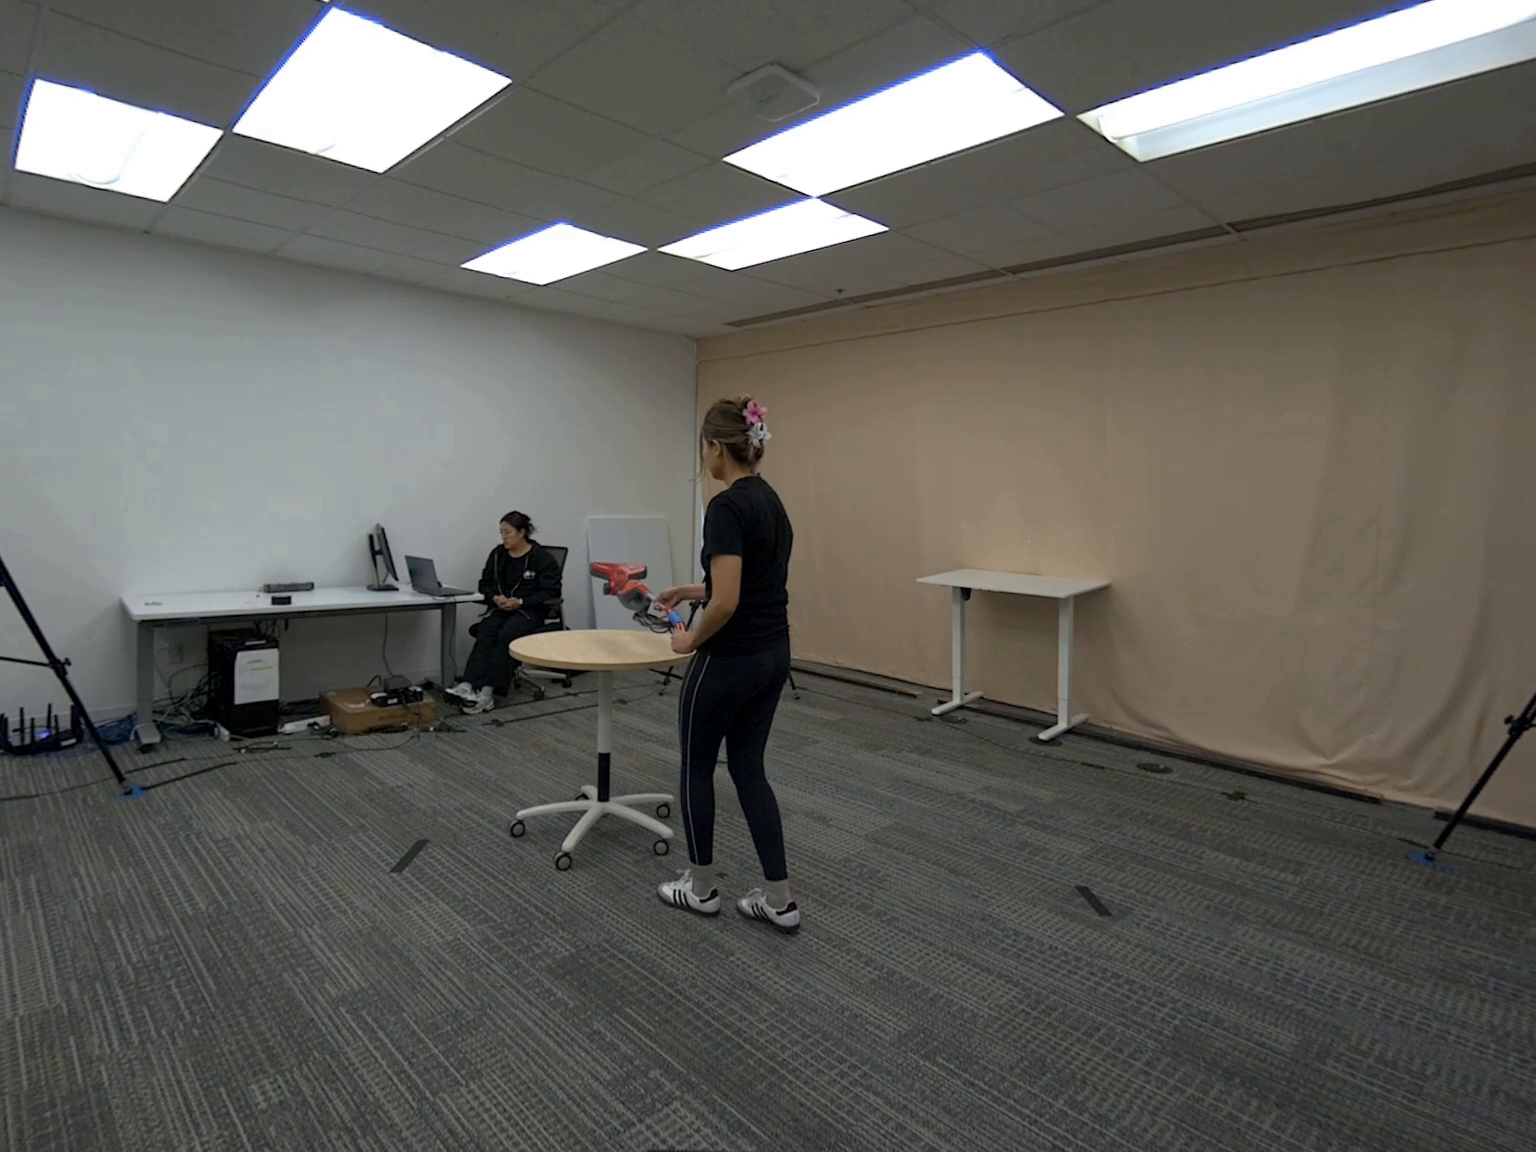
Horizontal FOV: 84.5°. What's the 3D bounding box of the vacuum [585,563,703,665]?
[{"bbox_3d":[-0.462,0.117,3.205,0.248,0.143,1.073,2,10,-23],"label":"vacuum"}]
